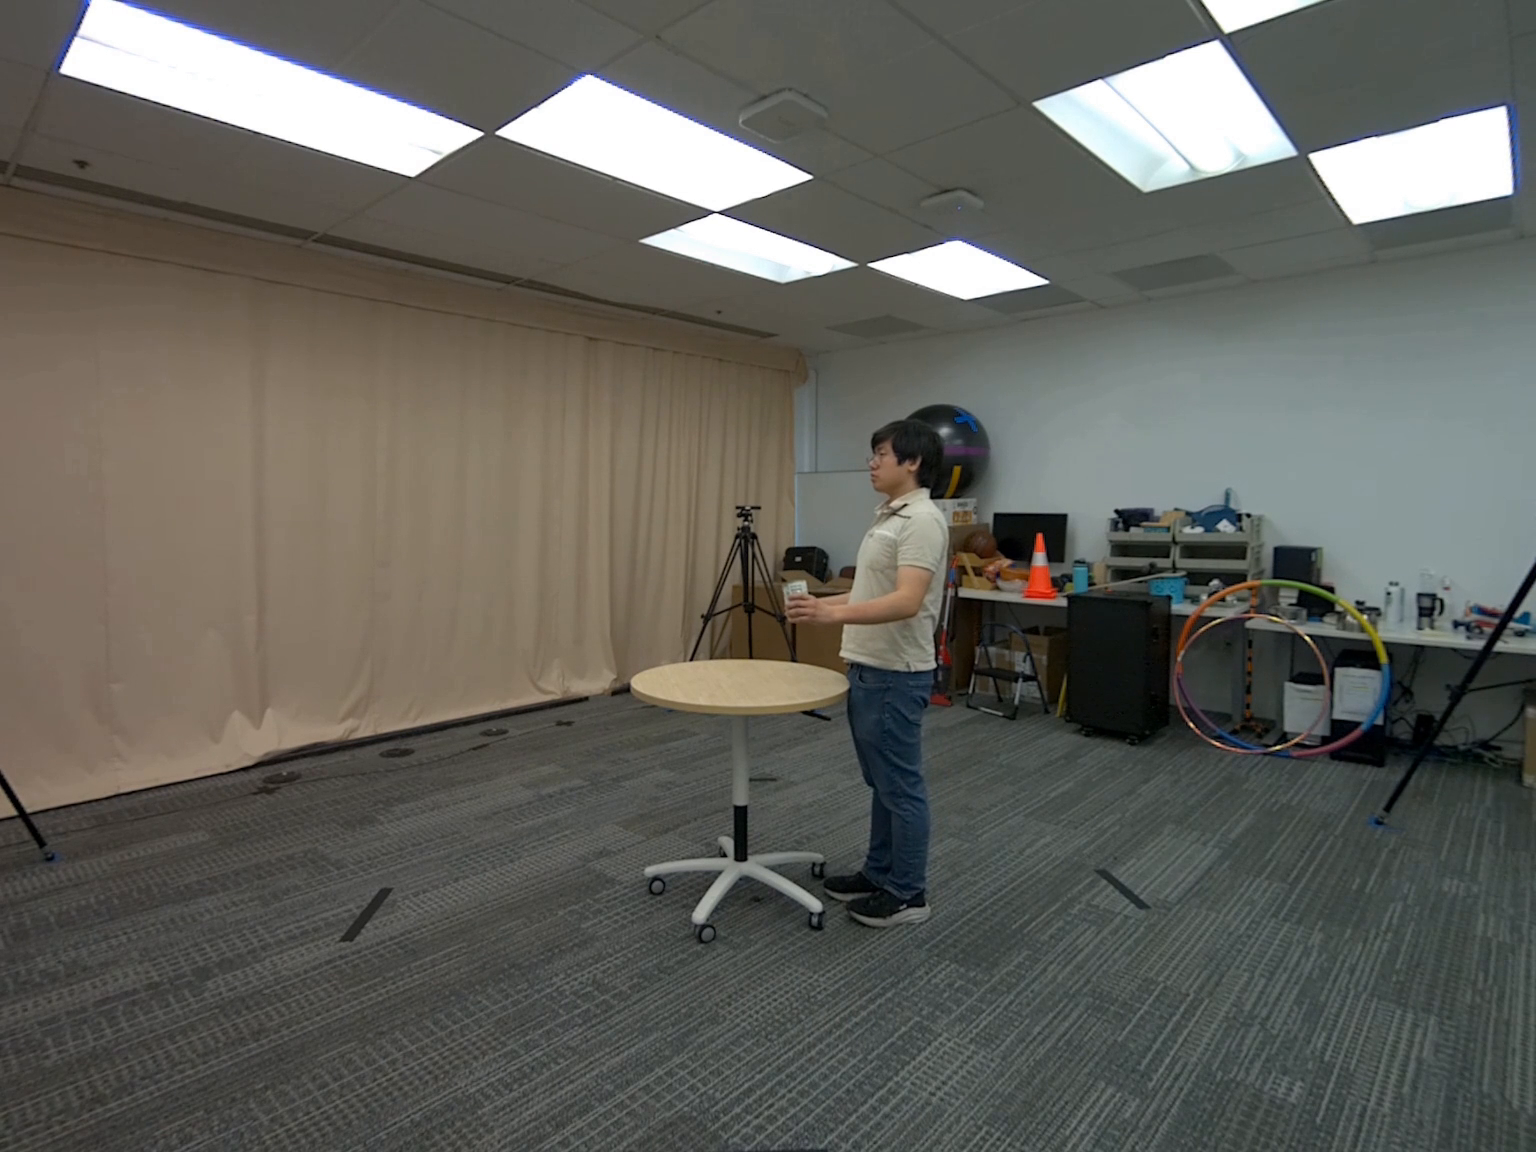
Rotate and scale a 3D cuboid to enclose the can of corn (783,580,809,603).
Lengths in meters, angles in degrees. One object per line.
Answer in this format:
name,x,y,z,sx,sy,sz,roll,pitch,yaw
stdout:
can of corn,0.095,0.076,2.571,0.074,0.111,0.074,-6,0,-2
